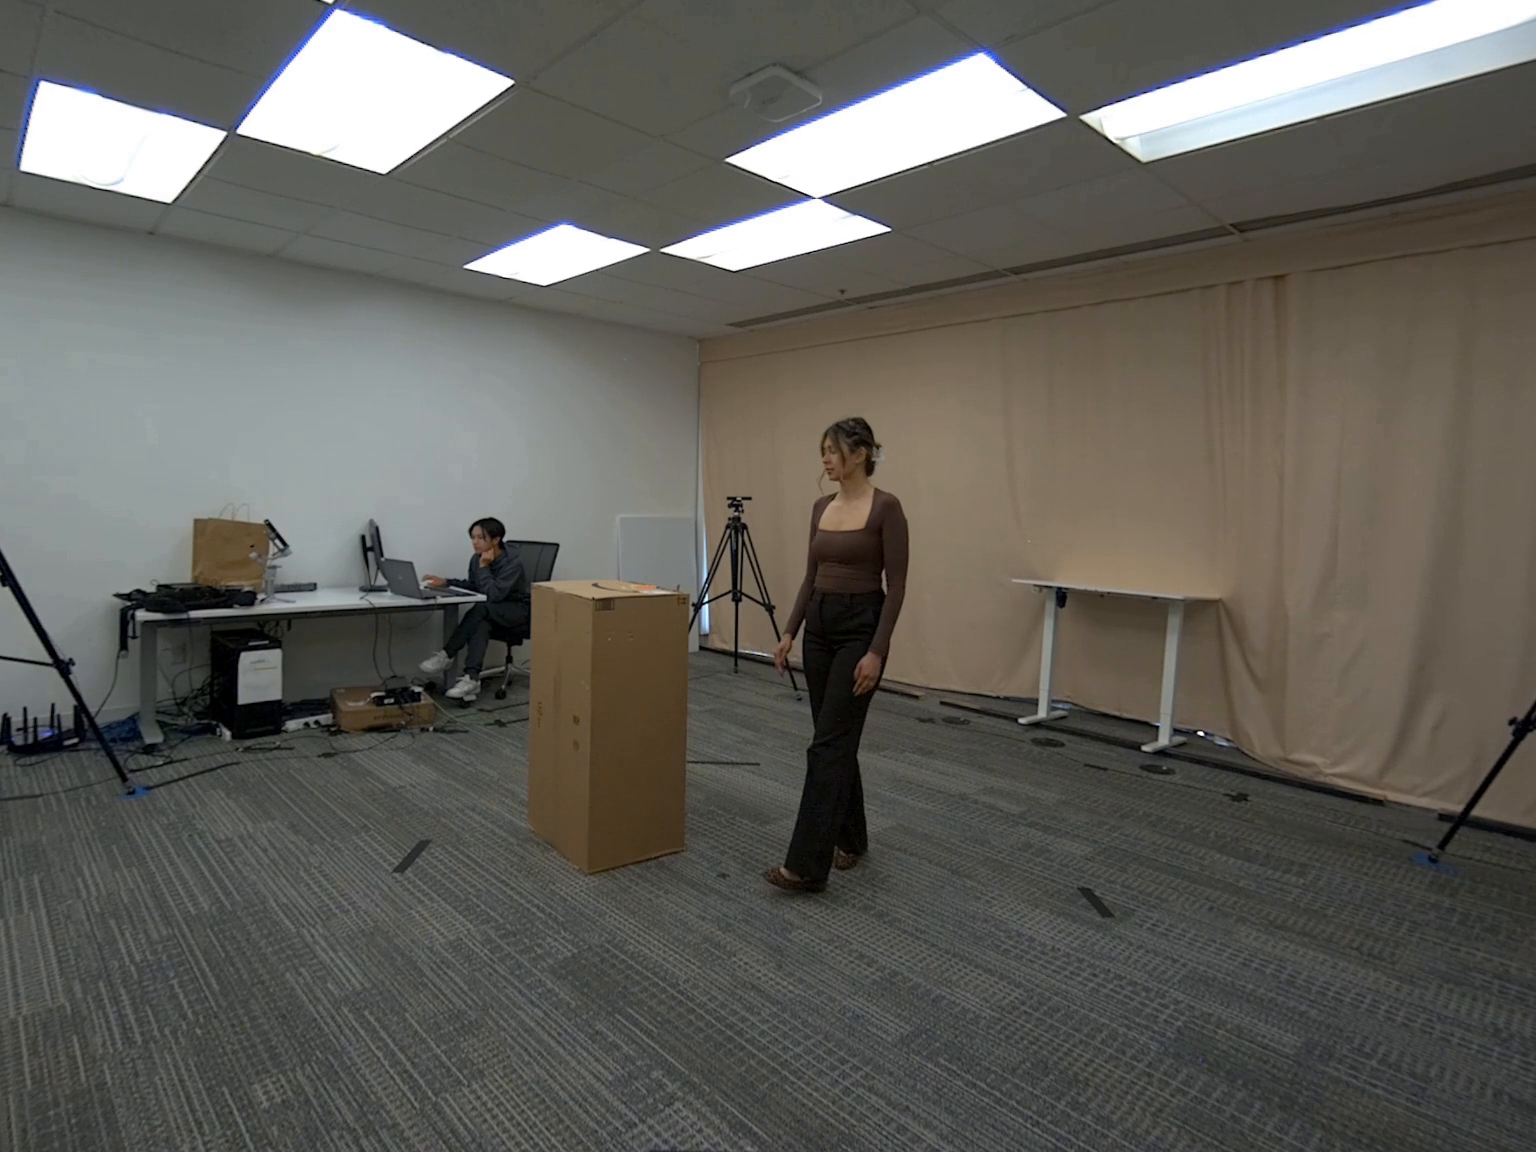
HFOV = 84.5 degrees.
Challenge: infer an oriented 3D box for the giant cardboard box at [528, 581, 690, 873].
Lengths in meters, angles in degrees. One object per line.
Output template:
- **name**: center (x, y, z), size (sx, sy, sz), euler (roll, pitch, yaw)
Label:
- **giant cardboard box**: center (-0.660, 0.554, 3.408), size (0.437, 1.025, 0.598), euler (0, 3, -36)
